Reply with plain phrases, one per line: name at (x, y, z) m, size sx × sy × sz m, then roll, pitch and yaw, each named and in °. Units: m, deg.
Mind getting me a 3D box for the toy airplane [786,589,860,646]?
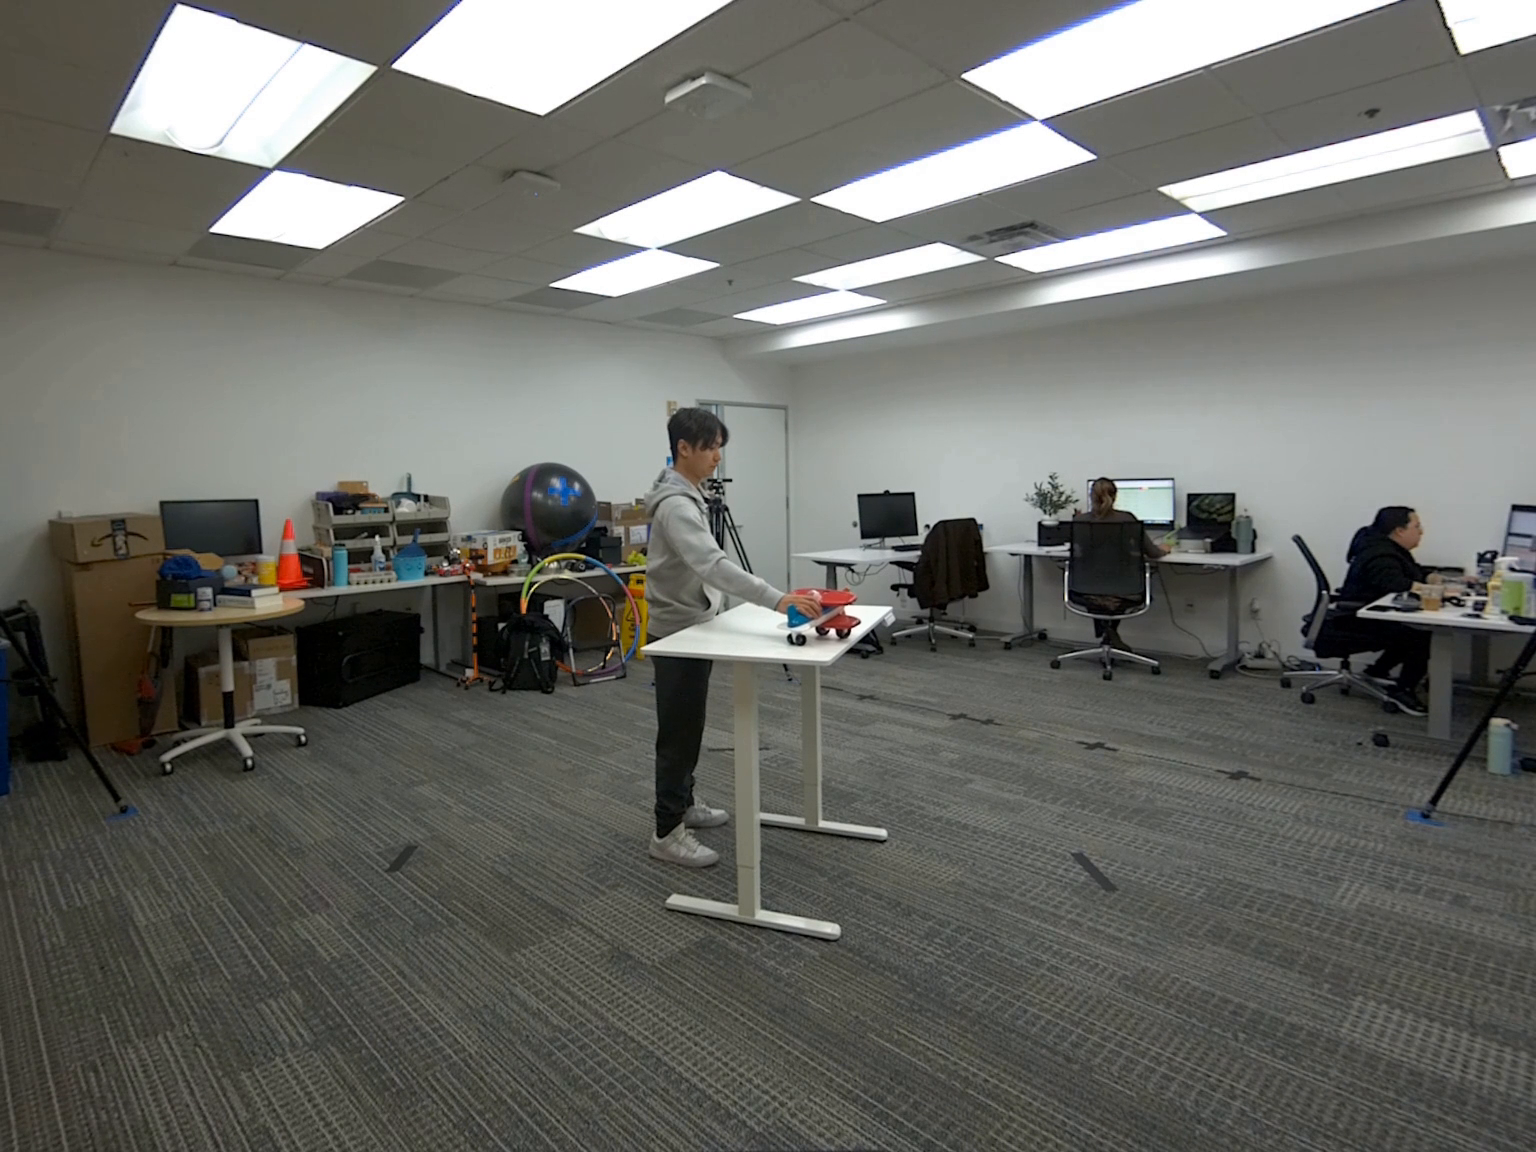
toy airplane at (0.172, 0.131, 2.700) m, size 0.255 × 0.156 × 0.256 m, roll 0°, pitch 5°, yaw 17°
